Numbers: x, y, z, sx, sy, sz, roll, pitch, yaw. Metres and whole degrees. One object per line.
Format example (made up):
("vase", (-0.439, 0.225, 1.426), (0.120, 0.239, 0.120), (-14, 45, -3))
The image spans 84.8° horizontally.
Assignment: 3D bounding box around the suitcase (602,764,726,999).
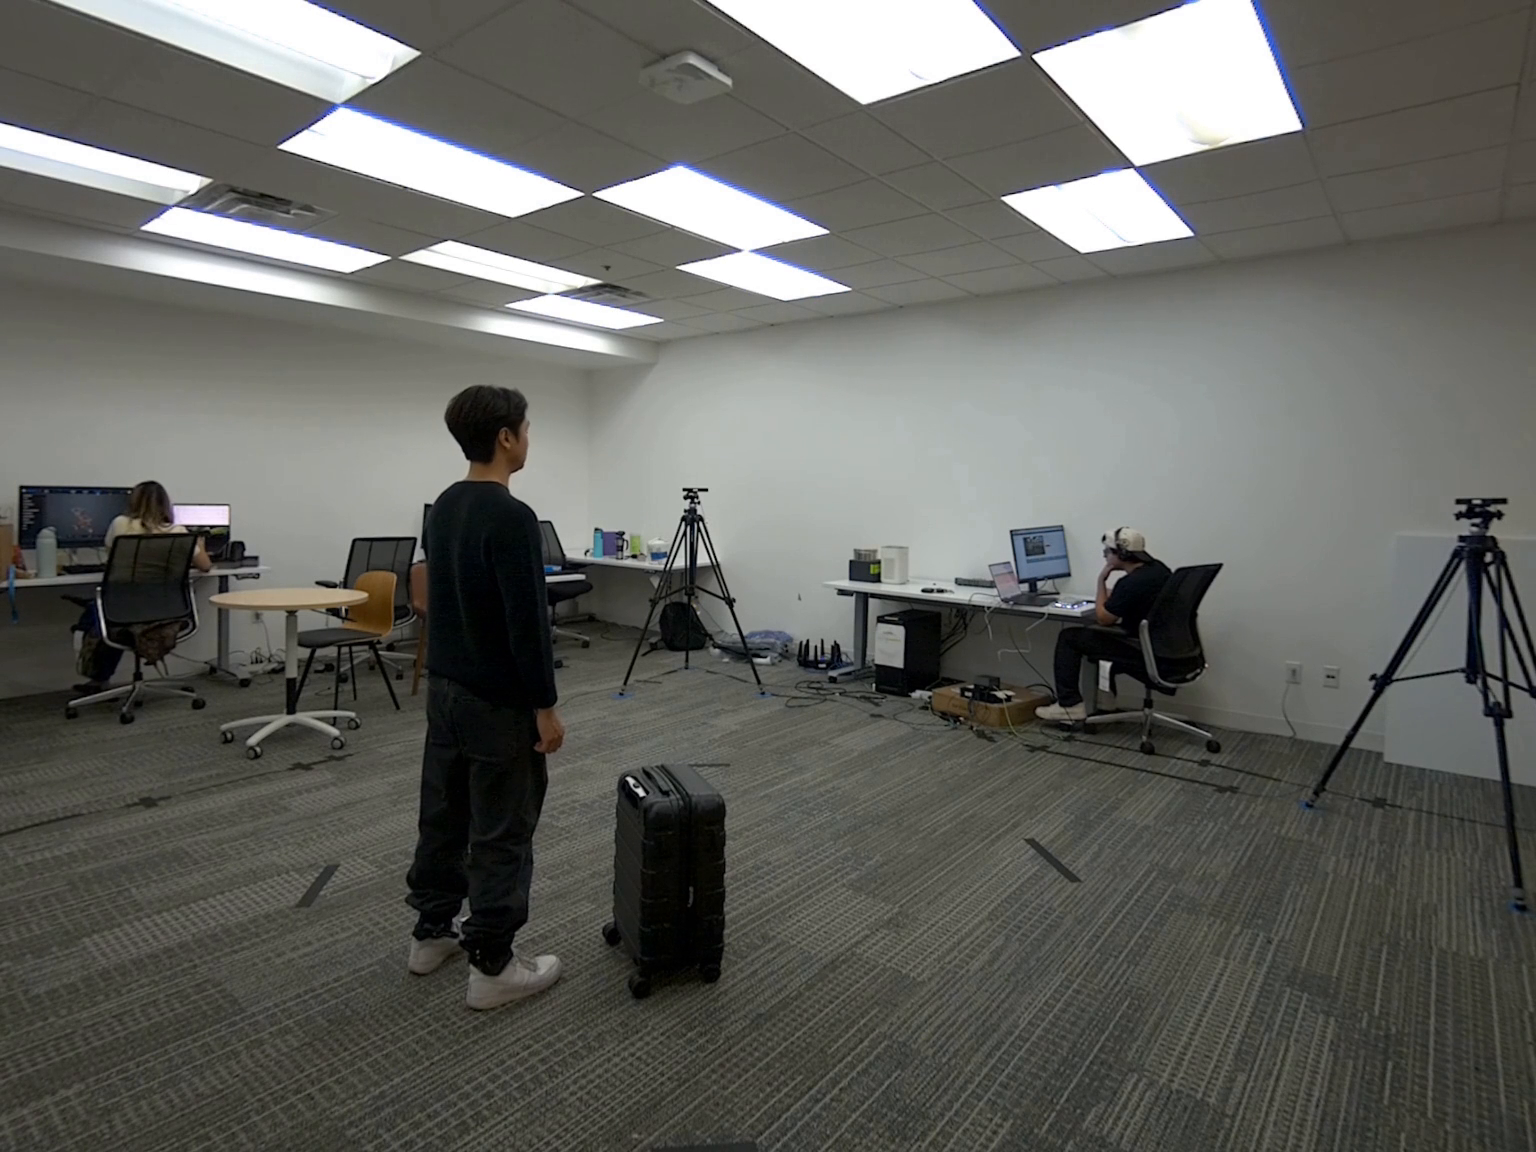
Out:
("suitcase", (-0.306, 0.852, 2.498), (0.242, 0.548, 0.385), (2, 3, -24))
